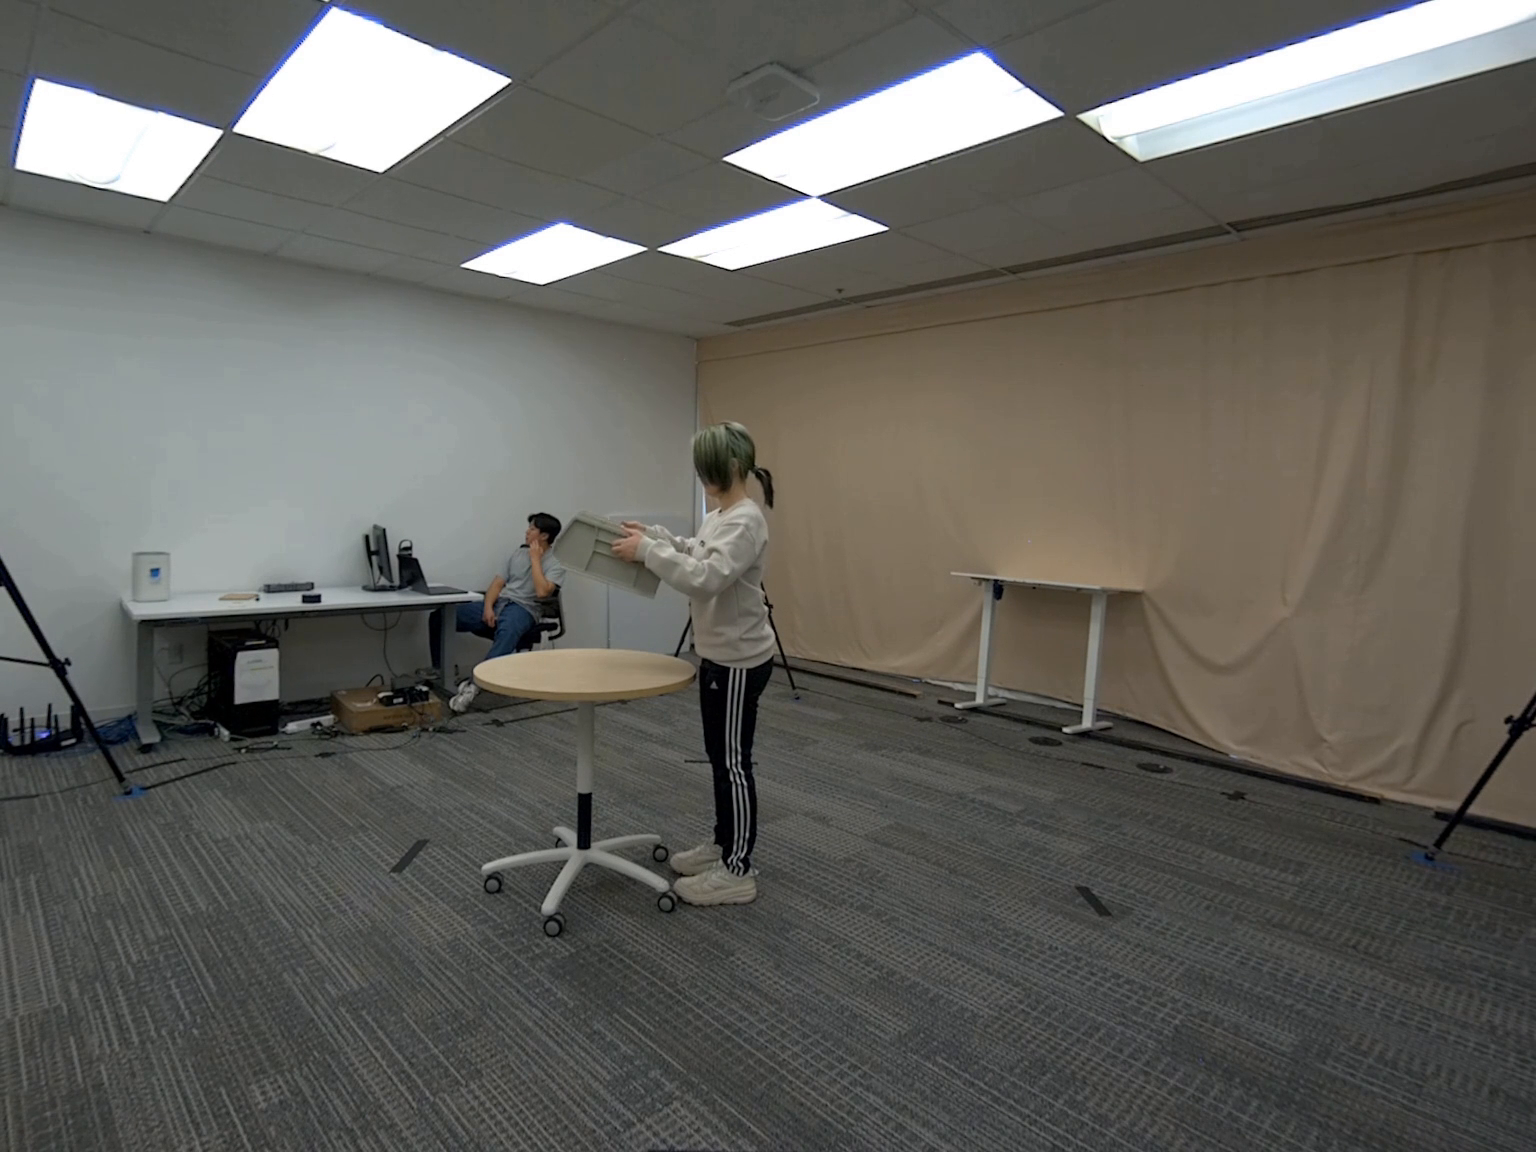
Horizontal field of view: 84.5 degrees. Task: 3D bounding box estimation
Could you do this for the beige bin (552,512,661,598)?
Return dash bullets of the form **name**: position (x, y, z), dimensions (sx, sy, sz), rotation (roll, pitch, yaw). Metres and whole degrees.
- **beige bin**: position (-0.549, -0.080, 2.935), dimensions (0.374, 0.189, 0.426), rotation (18, 4, -9)
